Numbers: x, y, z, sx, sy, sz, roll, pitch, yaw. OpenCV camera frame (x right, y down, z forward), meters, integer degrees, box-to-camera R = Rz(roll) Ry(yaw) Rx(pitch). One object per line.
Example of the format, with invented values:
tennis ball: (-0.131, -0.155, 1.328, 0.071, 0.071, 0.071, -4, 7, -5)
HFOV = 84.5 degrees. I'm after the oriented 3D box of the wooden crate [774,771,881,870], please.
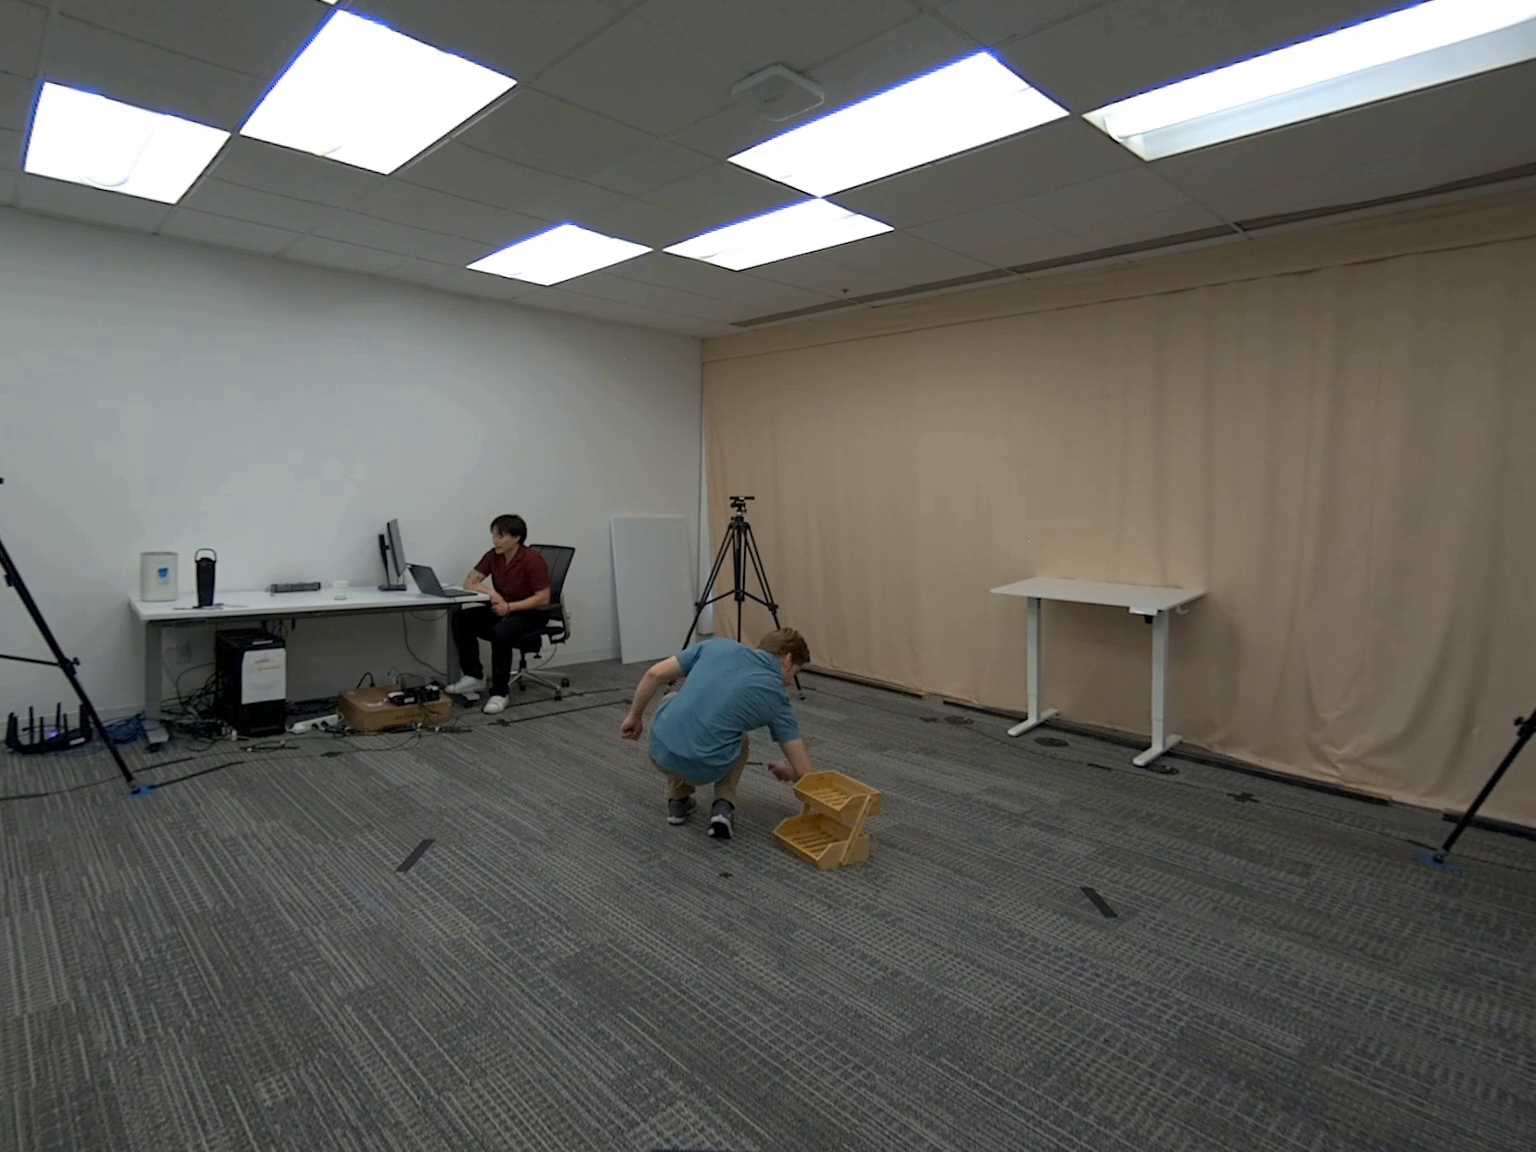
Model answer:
wooden crate: (0.216, 0.954, 3.344, 0.295, 0.273, 0.332, 0, 4, -34)
